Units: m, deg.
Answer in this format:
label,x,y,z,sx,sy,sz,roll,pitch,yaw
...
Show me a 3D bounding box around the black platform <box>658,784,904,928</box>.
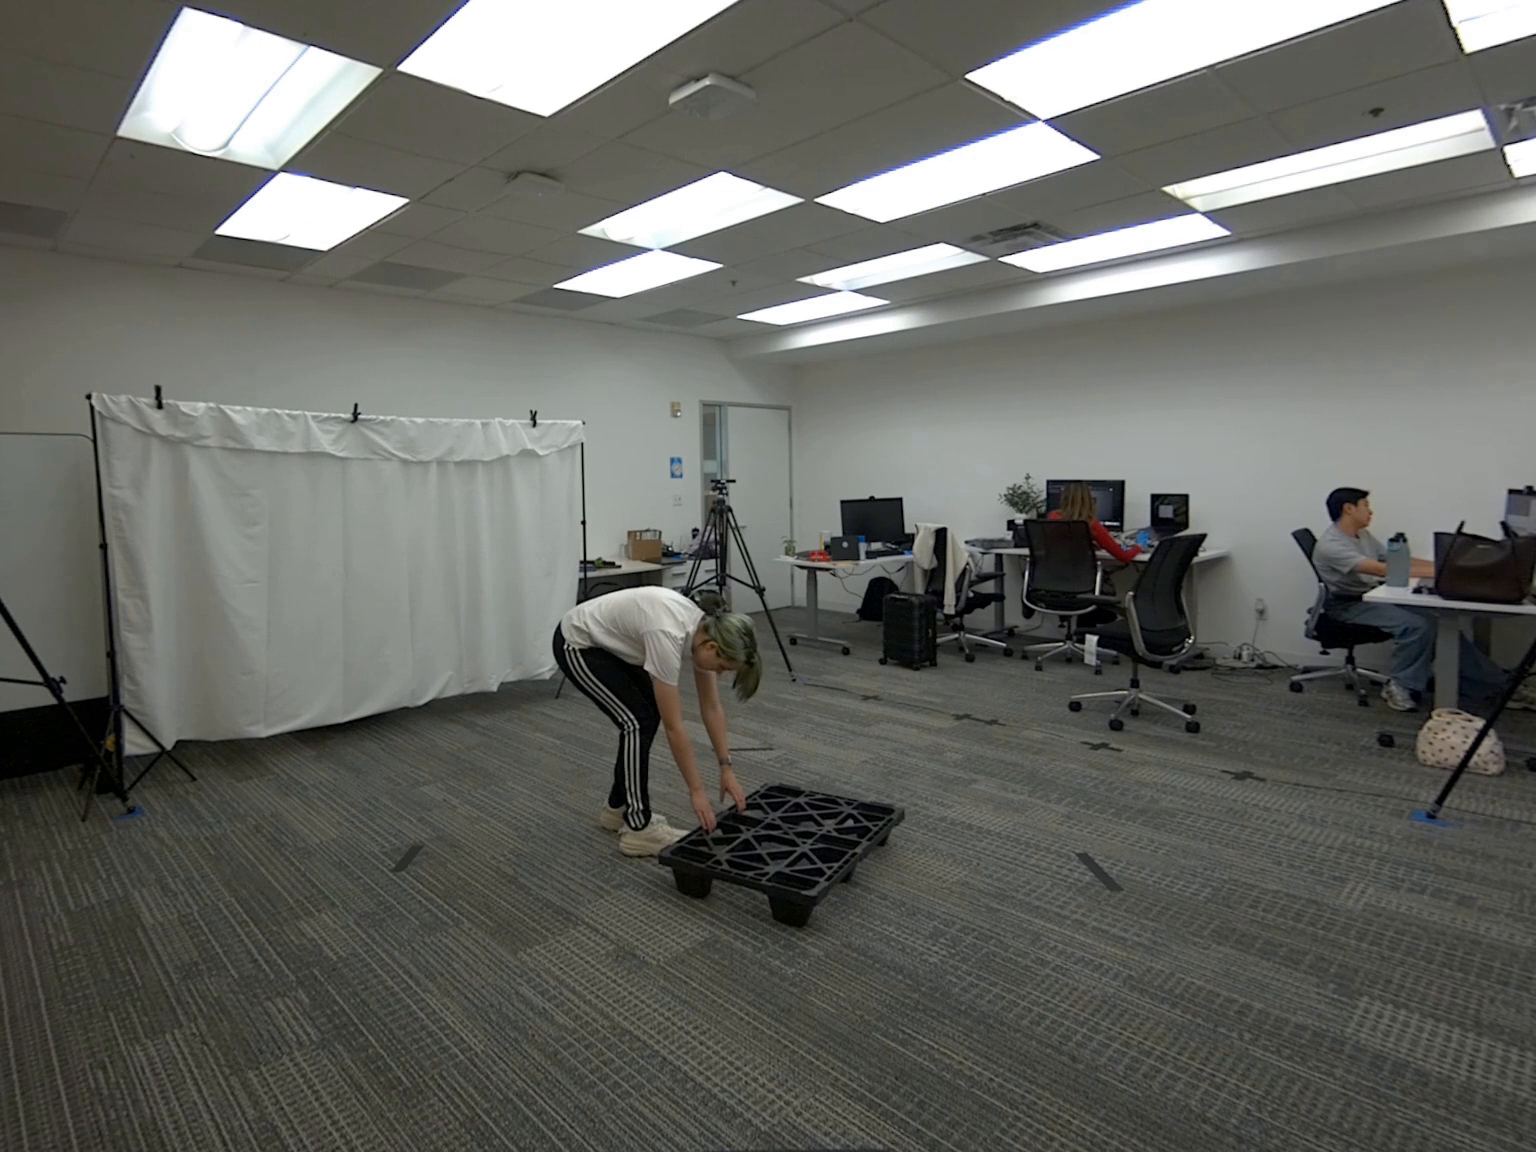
label,x,y,z,sx,sy,sz,roll,pitch,yaw
black platform,0.070,0.981,3.075,0.621,0.143,0.788,2,7,31
